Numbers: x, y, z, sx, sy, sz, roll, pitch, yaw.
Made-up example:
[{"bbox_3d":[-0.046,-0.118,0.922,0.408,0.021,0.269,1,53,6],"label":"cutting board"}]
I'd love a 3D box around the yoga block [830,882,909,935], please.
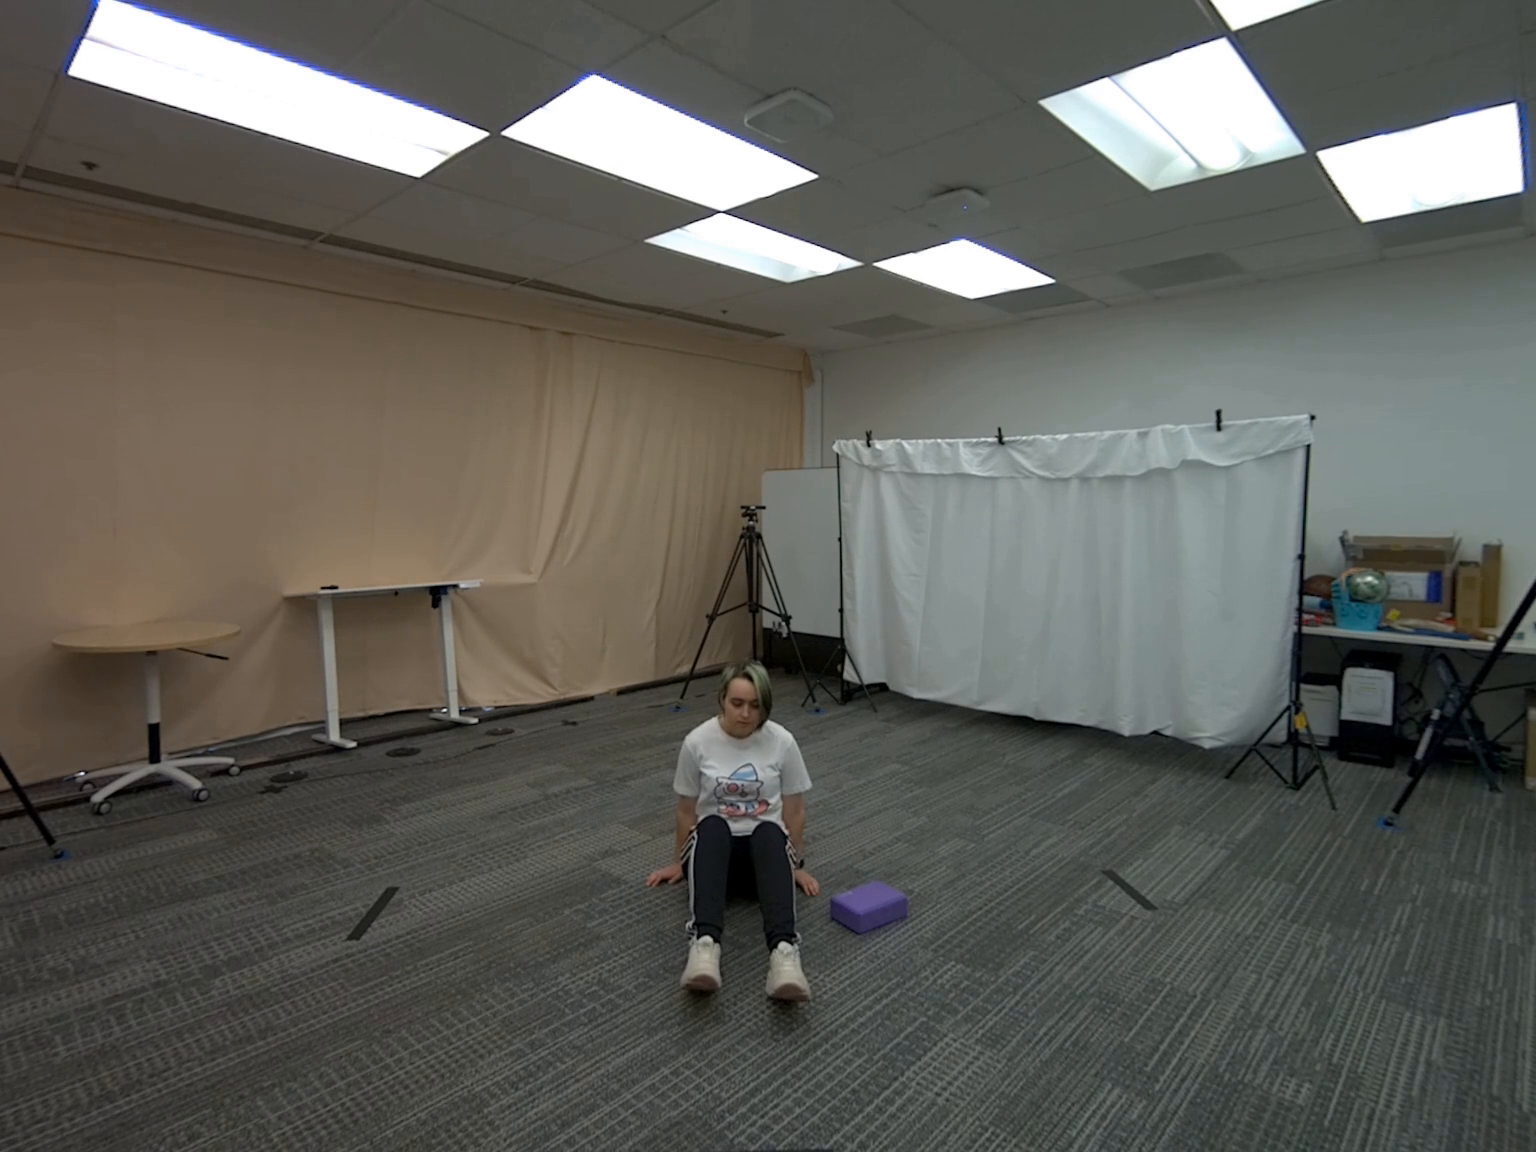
[{"bbox_3d":[0.346,1.118,2.834,0.223,0.076,0.154,-3,6,-34],"label":"yoga block"}]
